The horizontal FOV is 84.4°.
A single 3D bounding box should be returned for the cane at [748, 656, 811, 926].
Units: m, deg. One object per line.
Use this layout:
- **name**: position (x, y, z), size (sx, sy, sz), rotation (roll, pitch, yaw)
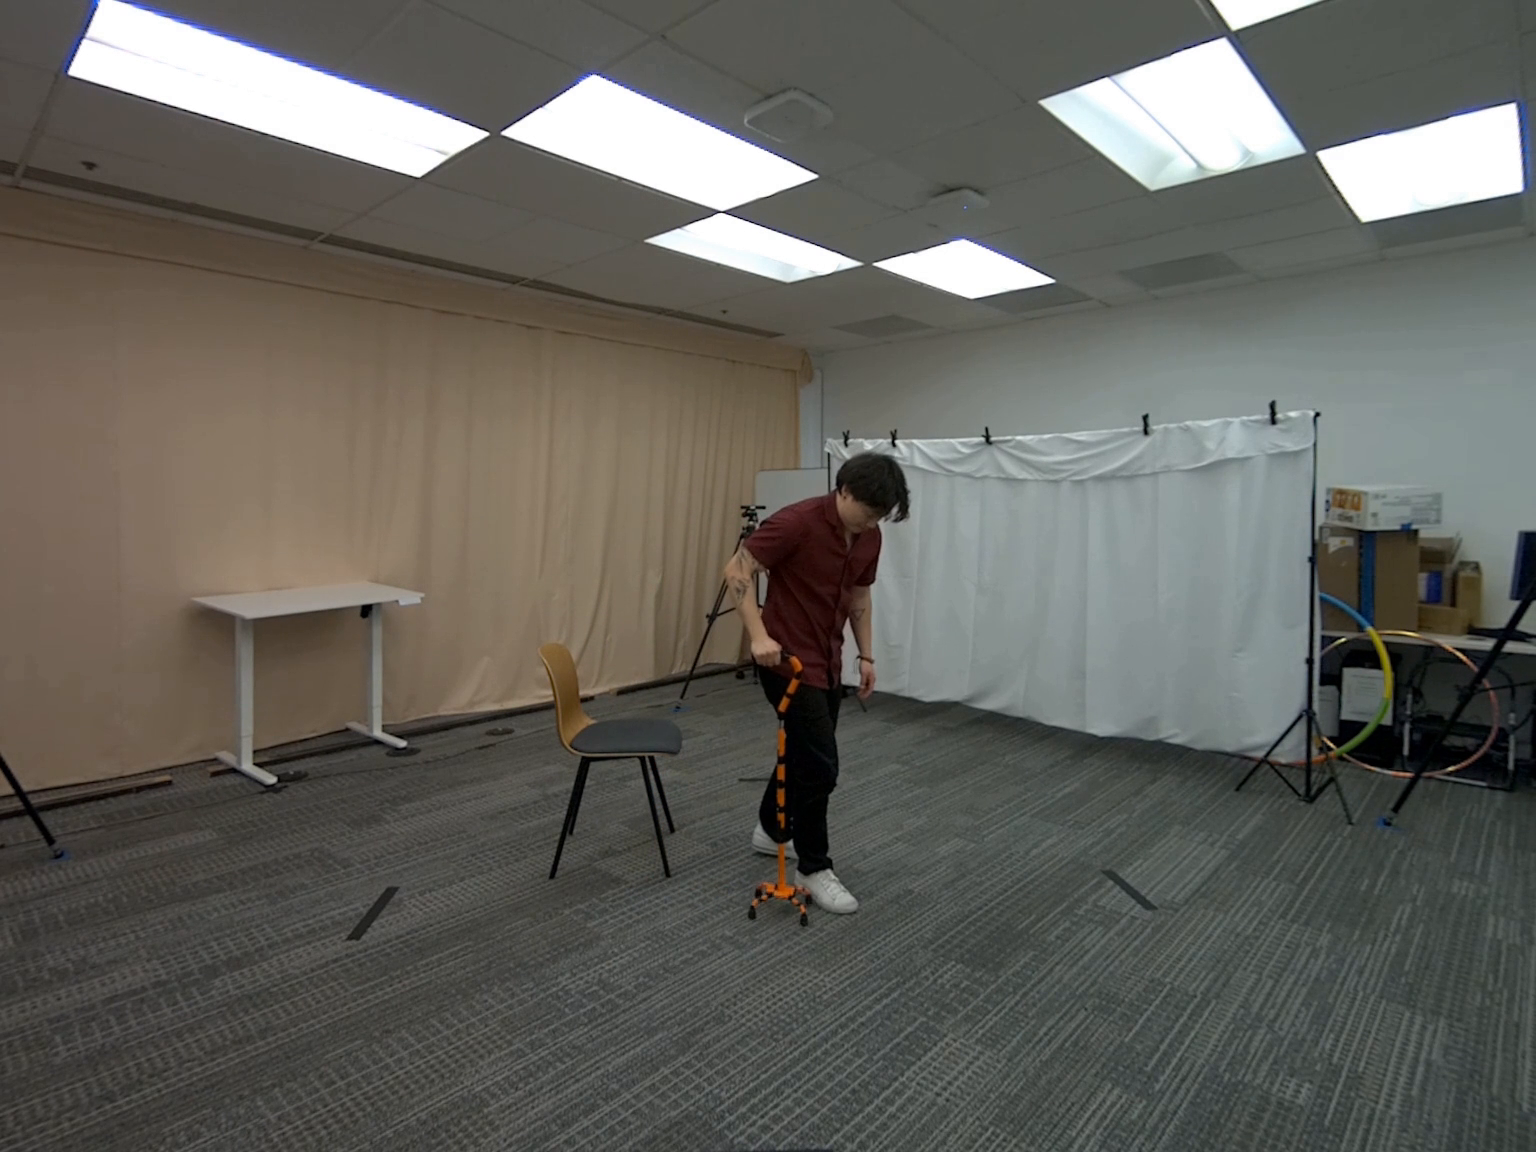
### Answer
- **cane**: position (0.048, 0.690, 2.797), size (0.208, 0.902, 0.151), rotation (1, 9, 7)
